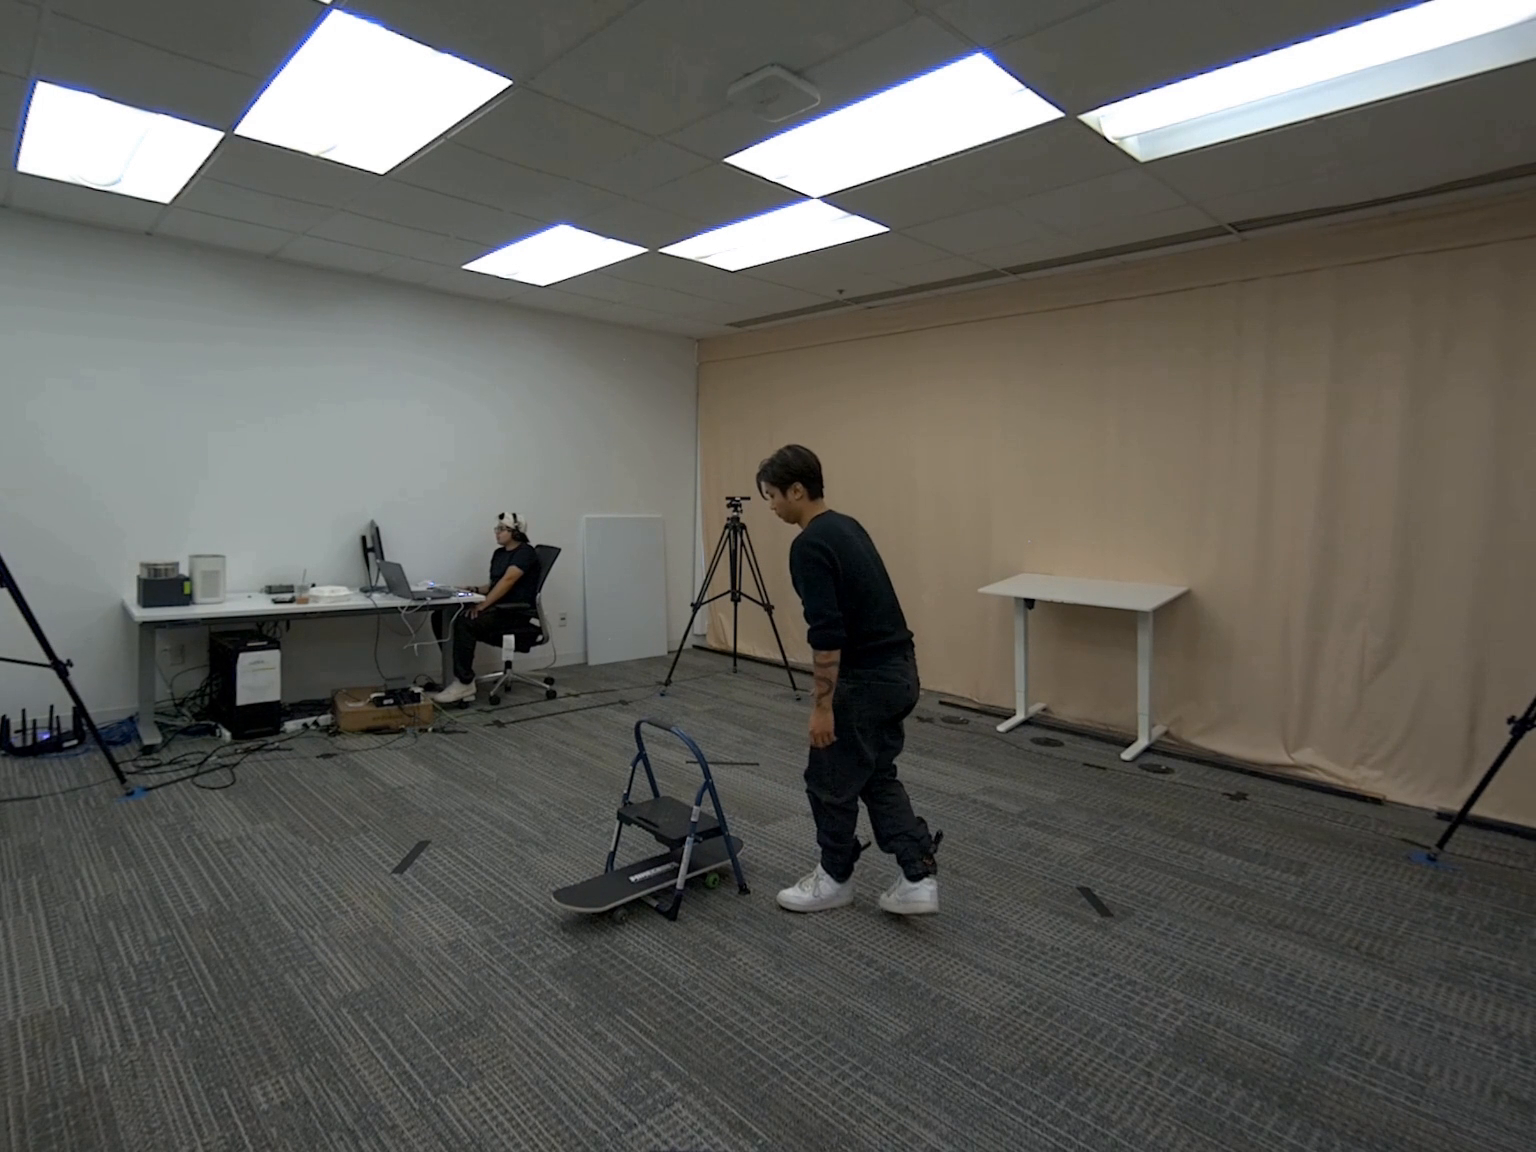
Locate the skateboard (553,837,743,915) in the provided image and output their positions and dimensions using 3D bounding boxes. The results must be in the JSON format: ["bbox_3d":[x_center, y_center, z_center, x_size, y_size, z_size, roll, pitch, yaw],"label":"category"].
[{"bbox_3d":[-0.392,1.056,2.924,0.767,0.110,0.198,-3,6,-43],"label":"skateboard"}]
